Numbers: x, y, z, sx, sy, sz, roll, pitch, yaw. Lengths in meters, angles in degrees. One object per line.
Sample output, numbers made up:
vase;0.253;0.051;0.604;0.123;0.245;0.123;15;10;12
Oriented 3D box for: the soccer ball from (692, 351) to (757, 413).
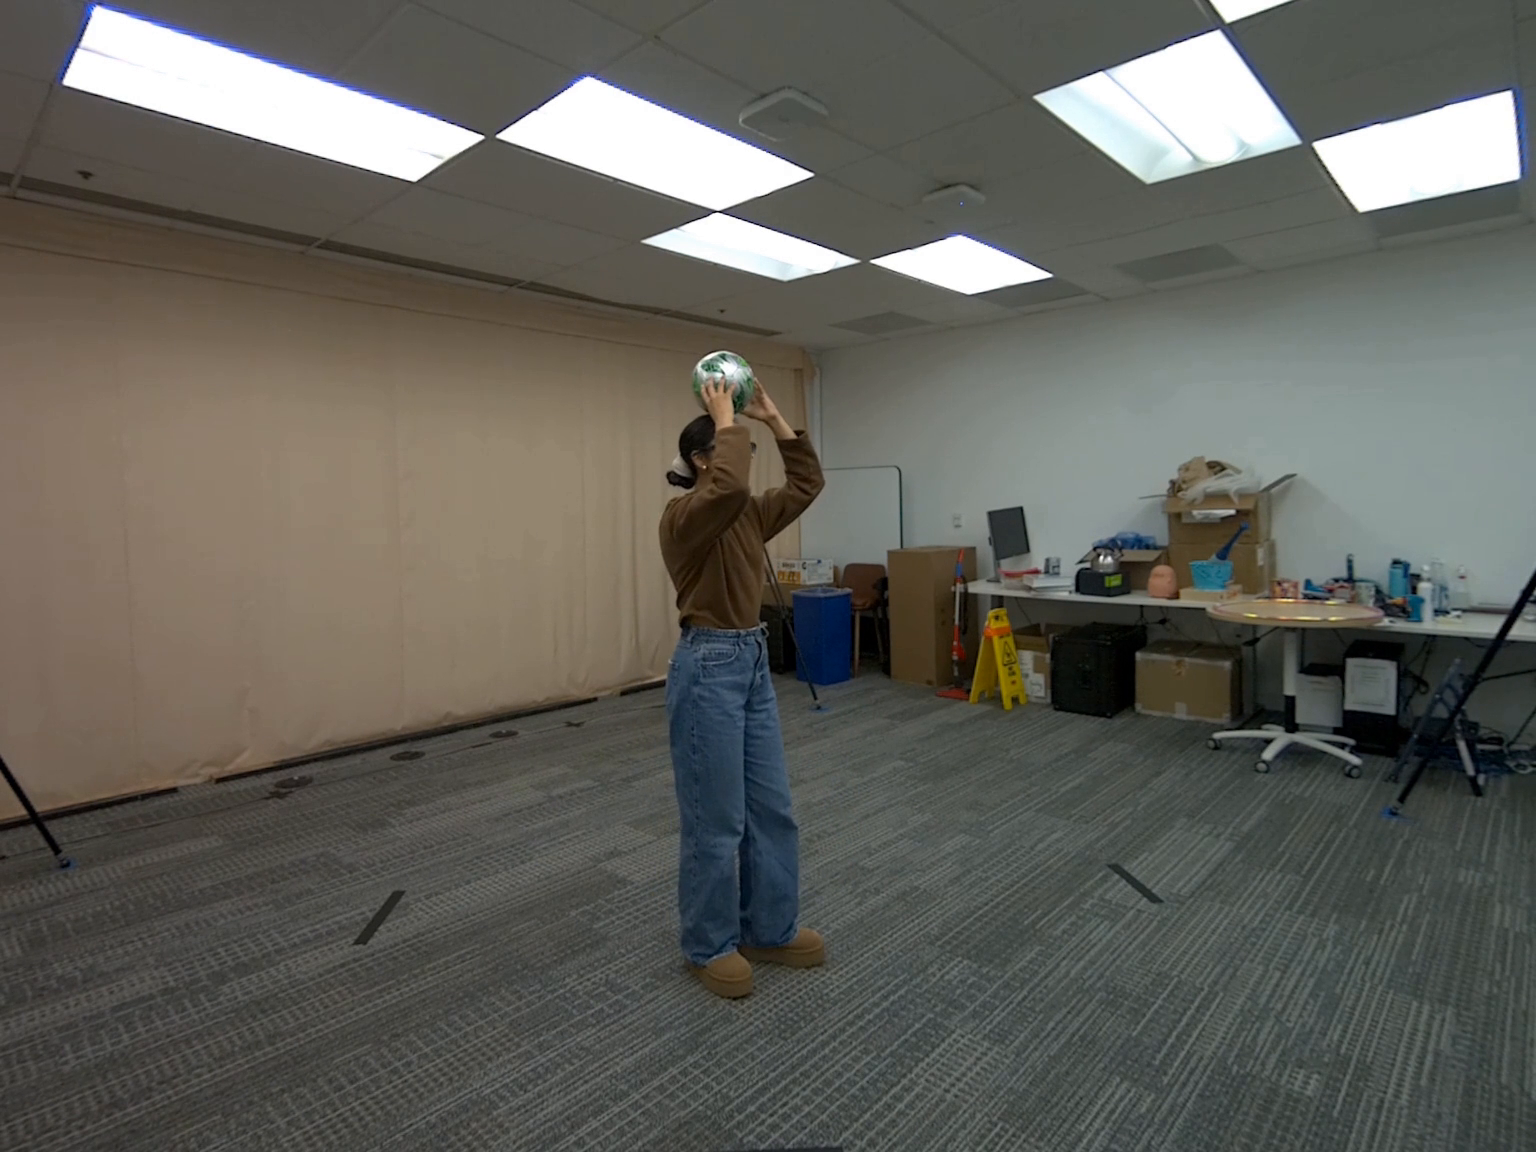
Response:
soccer ball;-0.132;-0.558;2.451;0.187;0.187;0.188;-1;4;-2
